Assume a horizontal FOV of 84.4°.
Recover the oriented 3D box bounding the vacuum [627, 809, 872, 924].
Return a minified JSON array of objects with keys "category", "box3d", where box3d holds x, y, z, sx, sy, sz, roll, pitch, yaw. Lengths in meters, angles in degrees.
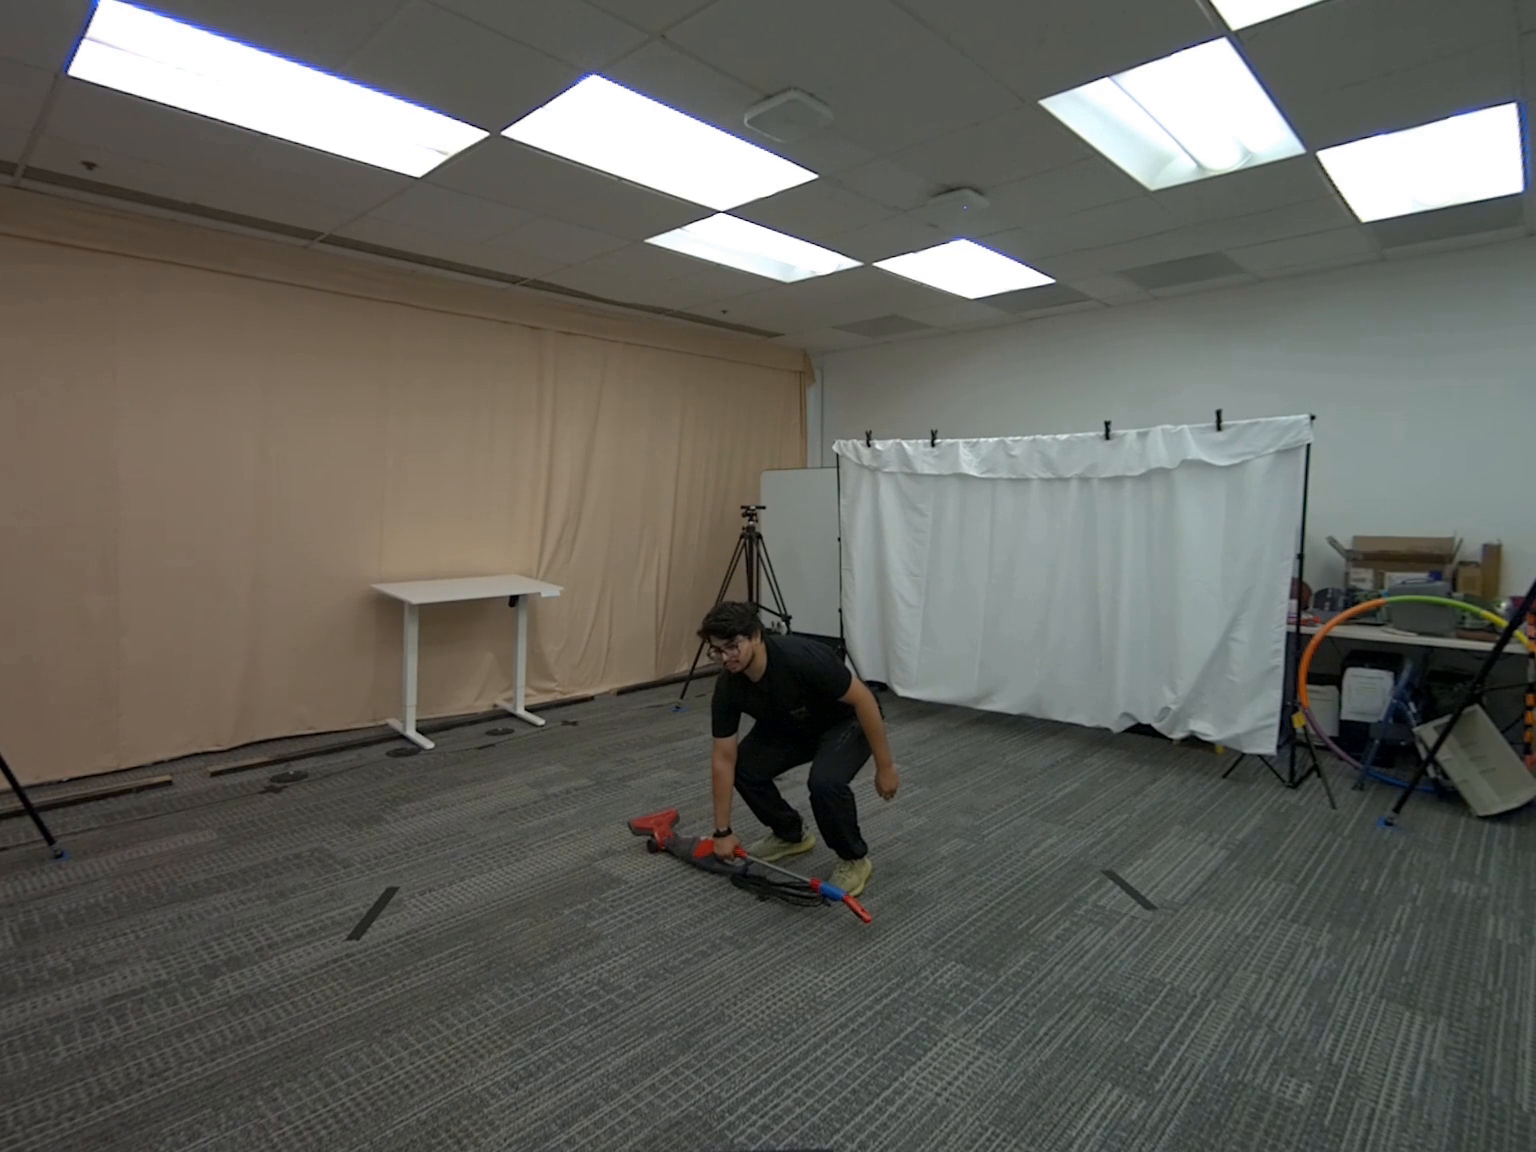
[{"category":"vacuum","box3d":[-0.070,1.077,3.075,1.085,0.144,0.244,5,4,45]}]
